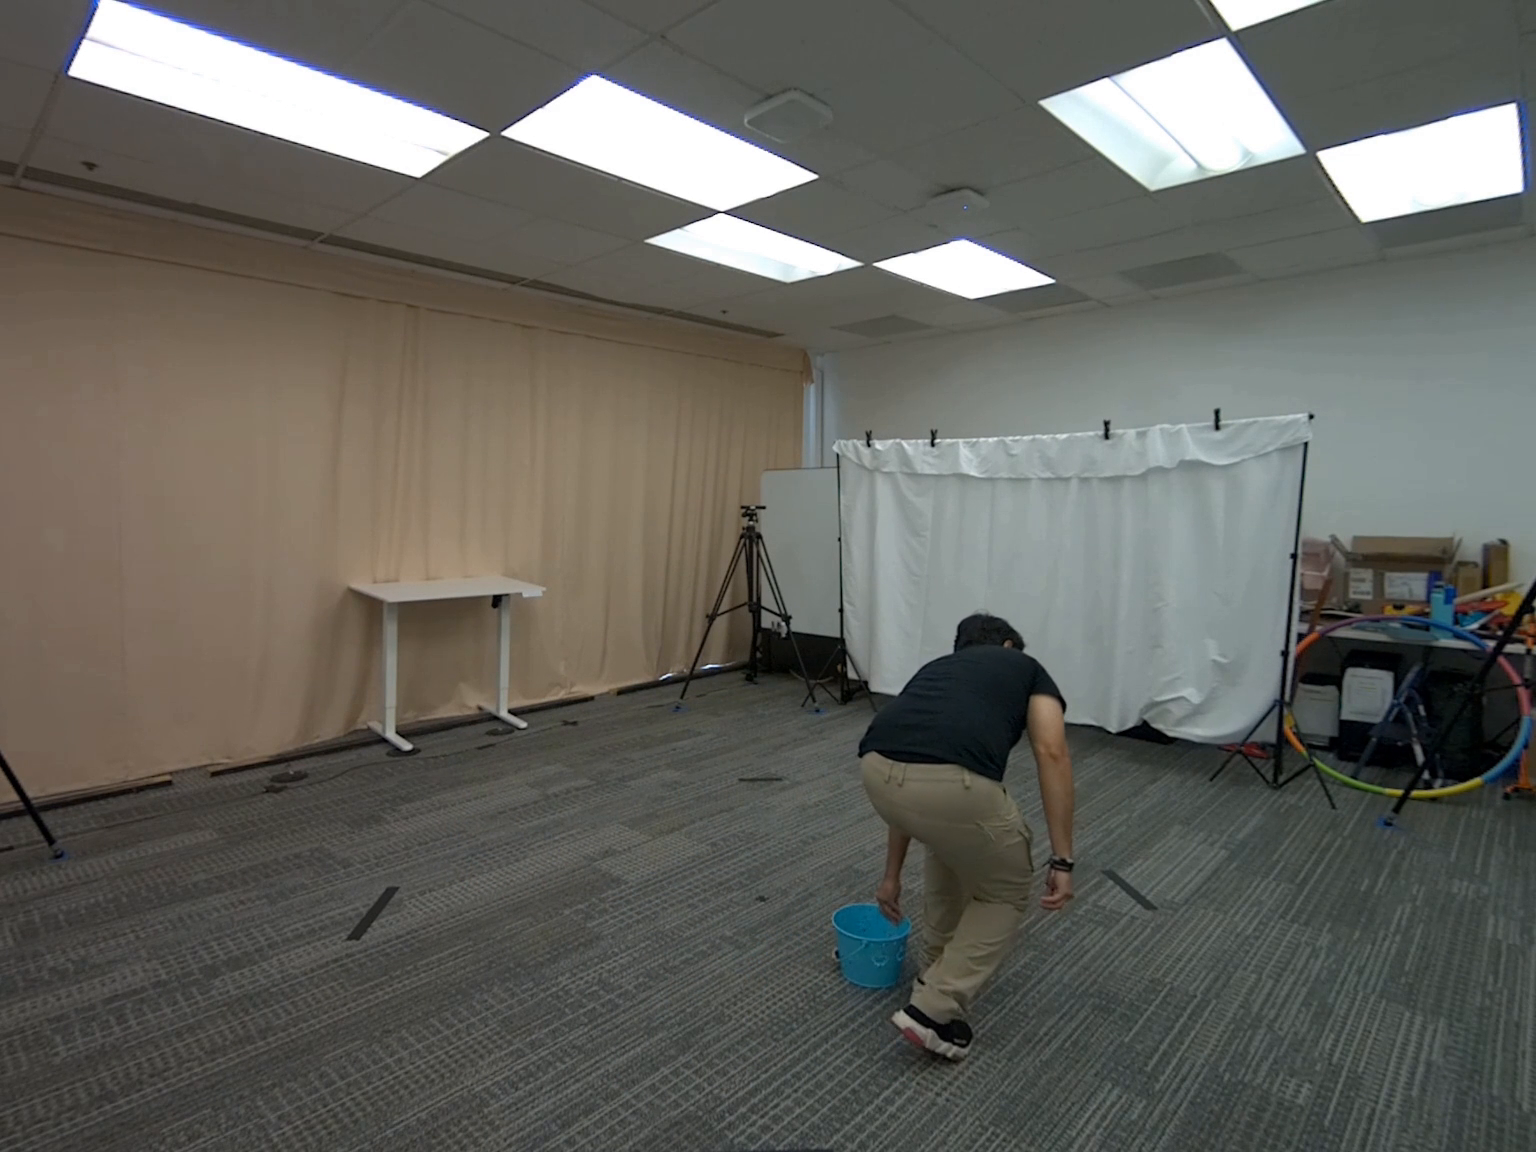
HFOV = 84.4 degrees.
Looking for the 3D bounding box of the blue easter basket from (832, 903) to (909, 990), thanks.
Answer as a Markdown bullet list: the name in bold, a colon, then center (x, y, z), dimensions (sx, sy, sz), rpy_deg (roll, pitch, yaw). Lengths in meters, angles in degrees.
- **blue easter basket**: center (0.311, 1.108, 2.509), dimensions (0.243, 0.155, 0.244), rpy_deg (1, 4, -2)
